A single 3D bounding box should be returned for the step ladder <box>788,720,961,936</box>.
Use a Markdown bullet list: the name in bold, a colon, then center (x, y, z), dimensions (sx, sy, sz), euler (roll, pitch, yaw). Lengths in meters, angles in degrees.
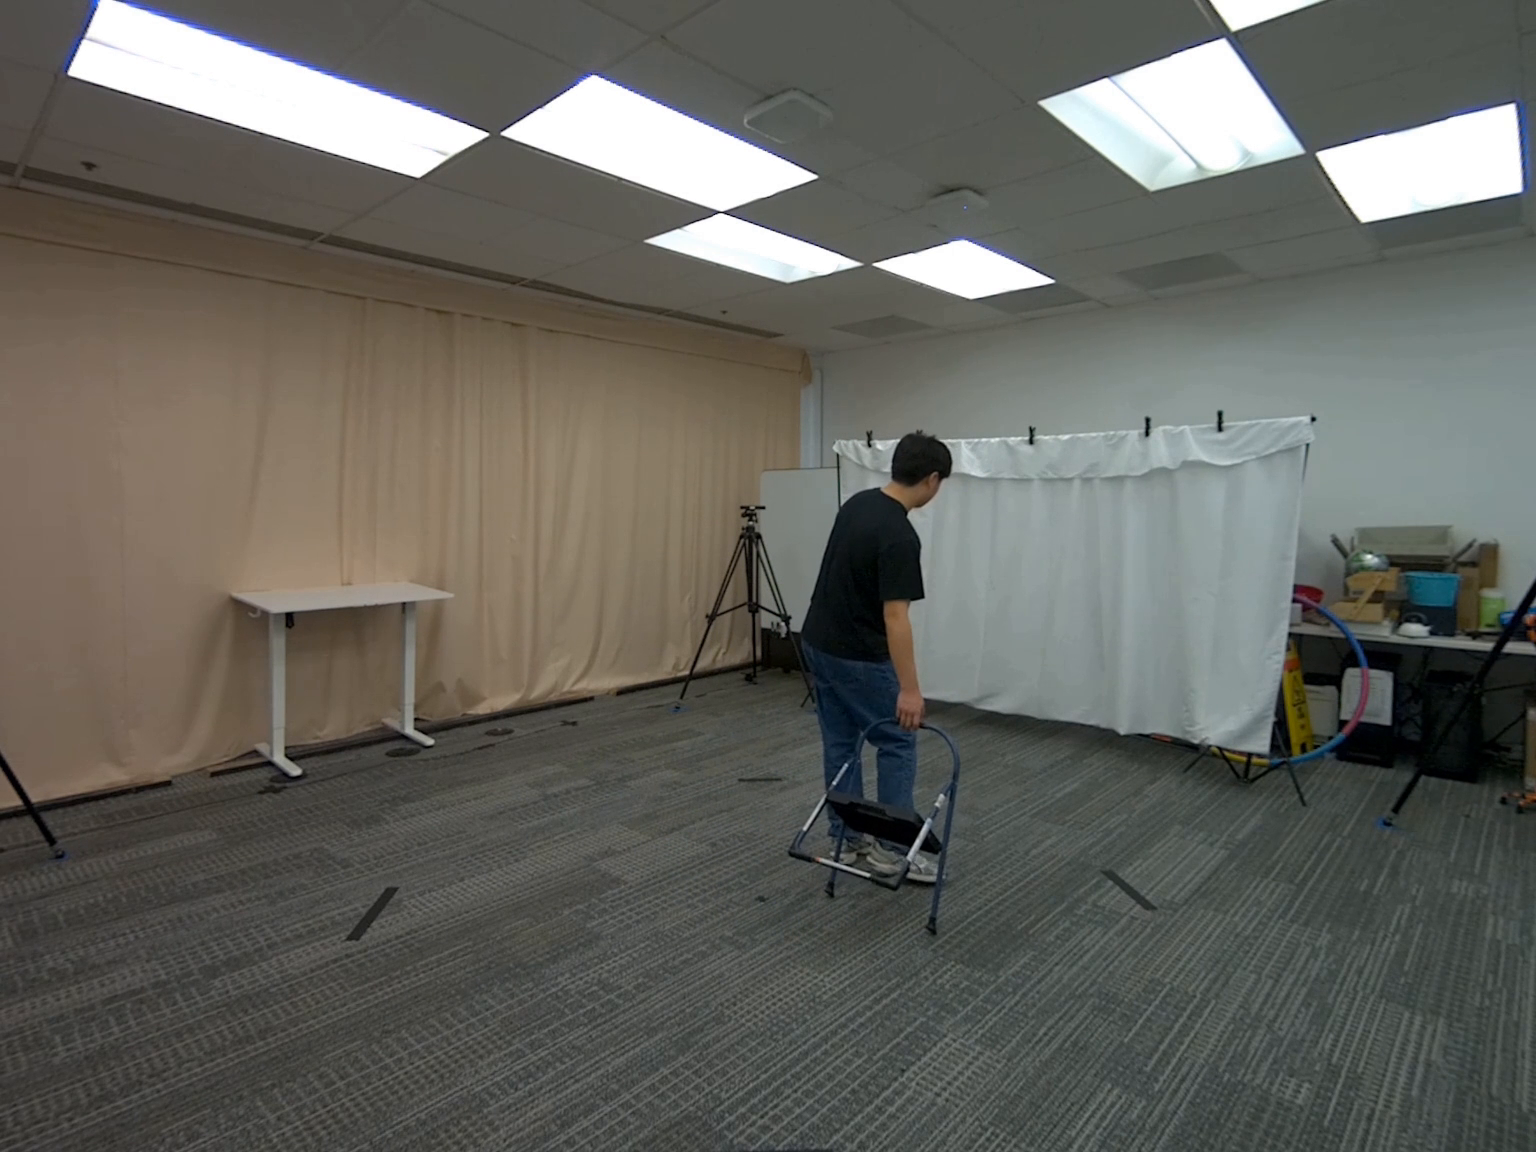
- **step ladder**: center (0.425, 0.802, 2.909), dimensions (0.445, 0.606, 0.338), euler (2, -37, 39)
